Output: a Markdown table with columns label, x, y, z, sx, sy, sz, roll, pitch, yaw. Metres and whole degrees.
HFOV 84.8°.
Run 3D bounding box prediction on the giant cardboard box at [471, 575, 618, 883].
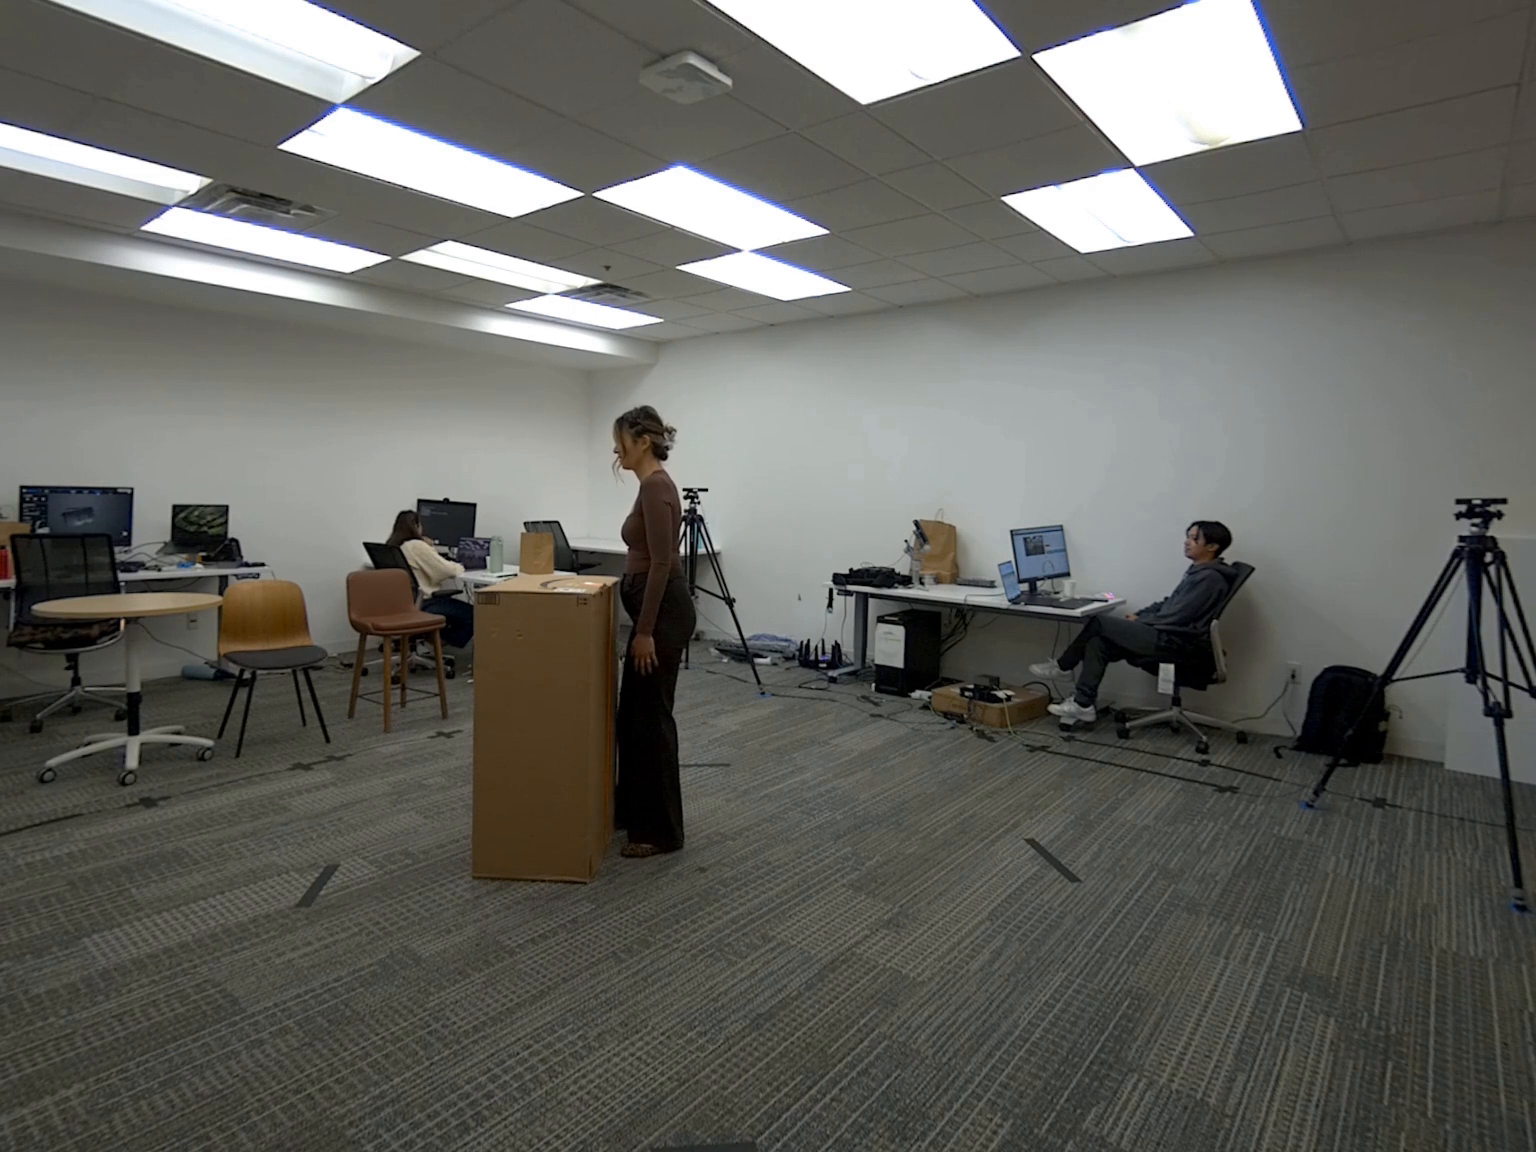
| label | x | y | z | sx | sy | sz | roll | pitch | yaw |
| --- | --- | --- | --- | --- | --- | --- | --- | --- | --- |
| giant cardboard box | -0.837 | 0.531 | 3.252 | 0.448 | 1.024 | 0.583 | 2 | 3 | 2 |
